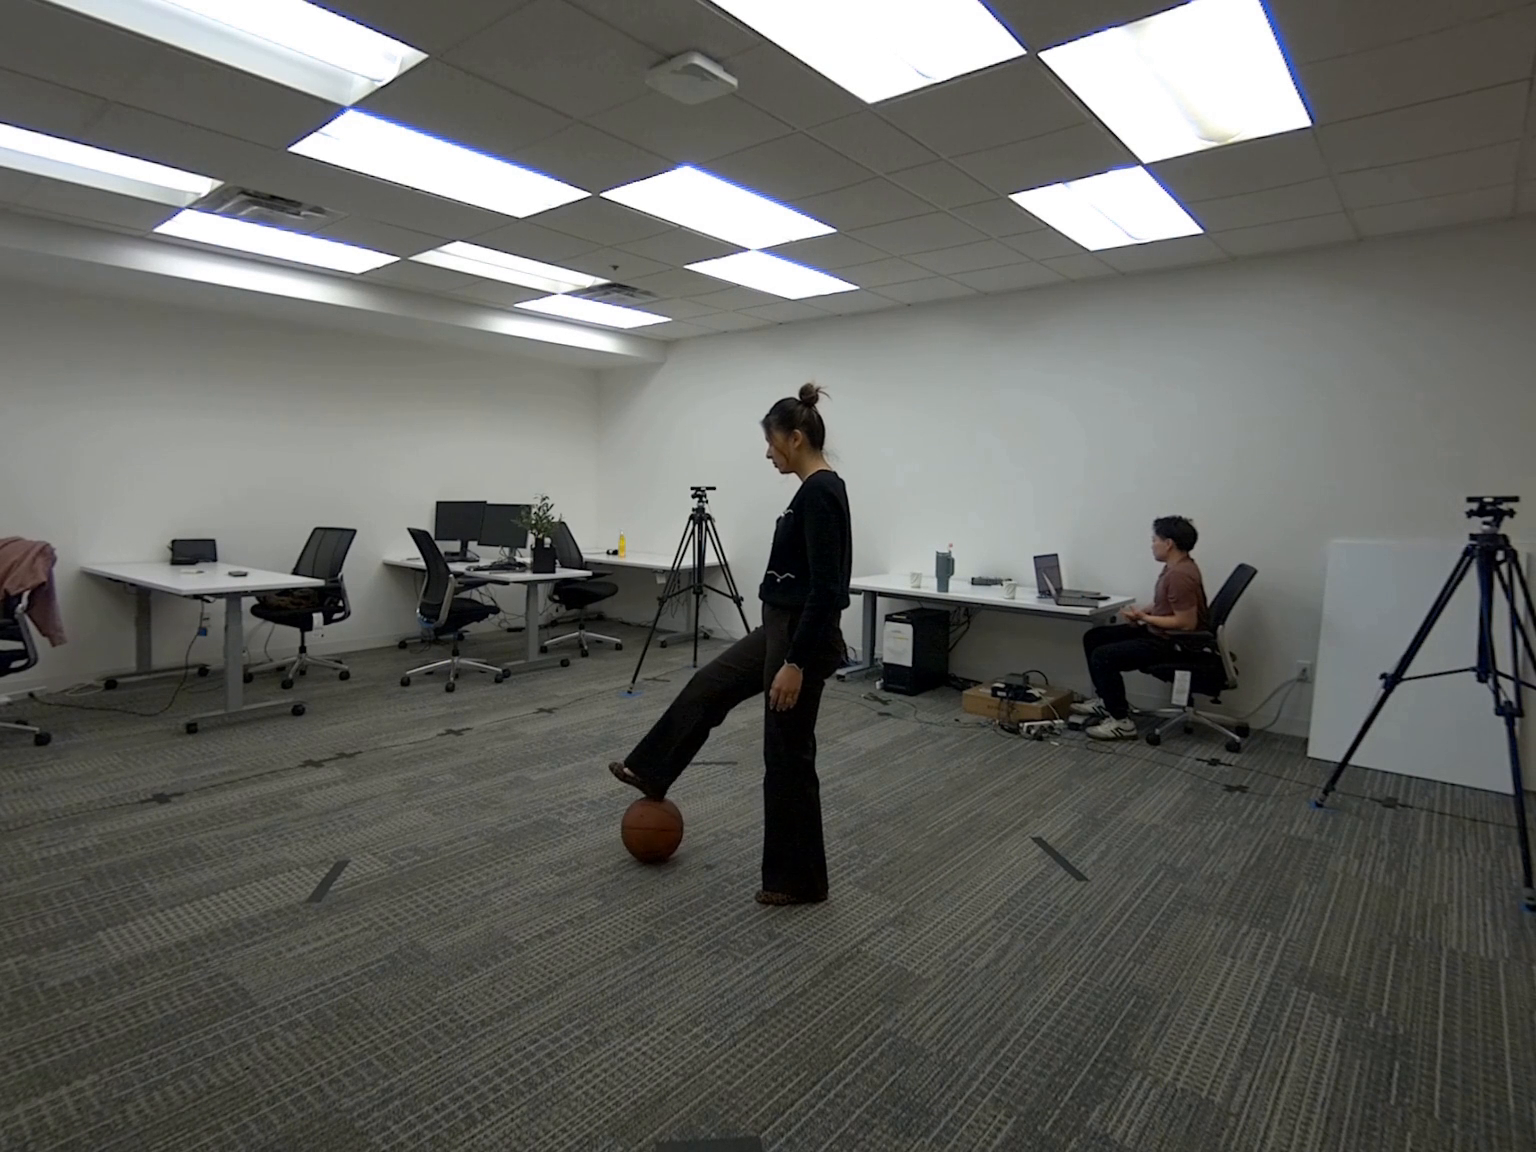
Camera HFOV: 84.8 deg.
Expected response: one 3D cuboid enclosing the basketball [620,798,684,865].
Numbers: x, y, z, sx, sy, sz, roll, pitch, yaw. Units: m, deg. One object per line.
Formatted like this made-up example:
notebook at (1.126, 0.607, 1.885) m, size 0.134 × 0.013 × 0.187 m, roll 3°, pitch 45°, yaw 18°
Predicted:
basketball at (-0.435, 0.941, 3.168) m, size 0.235 × 0.235 × 0.237 m, roll 1°, pitch 4°, yaw -2°
